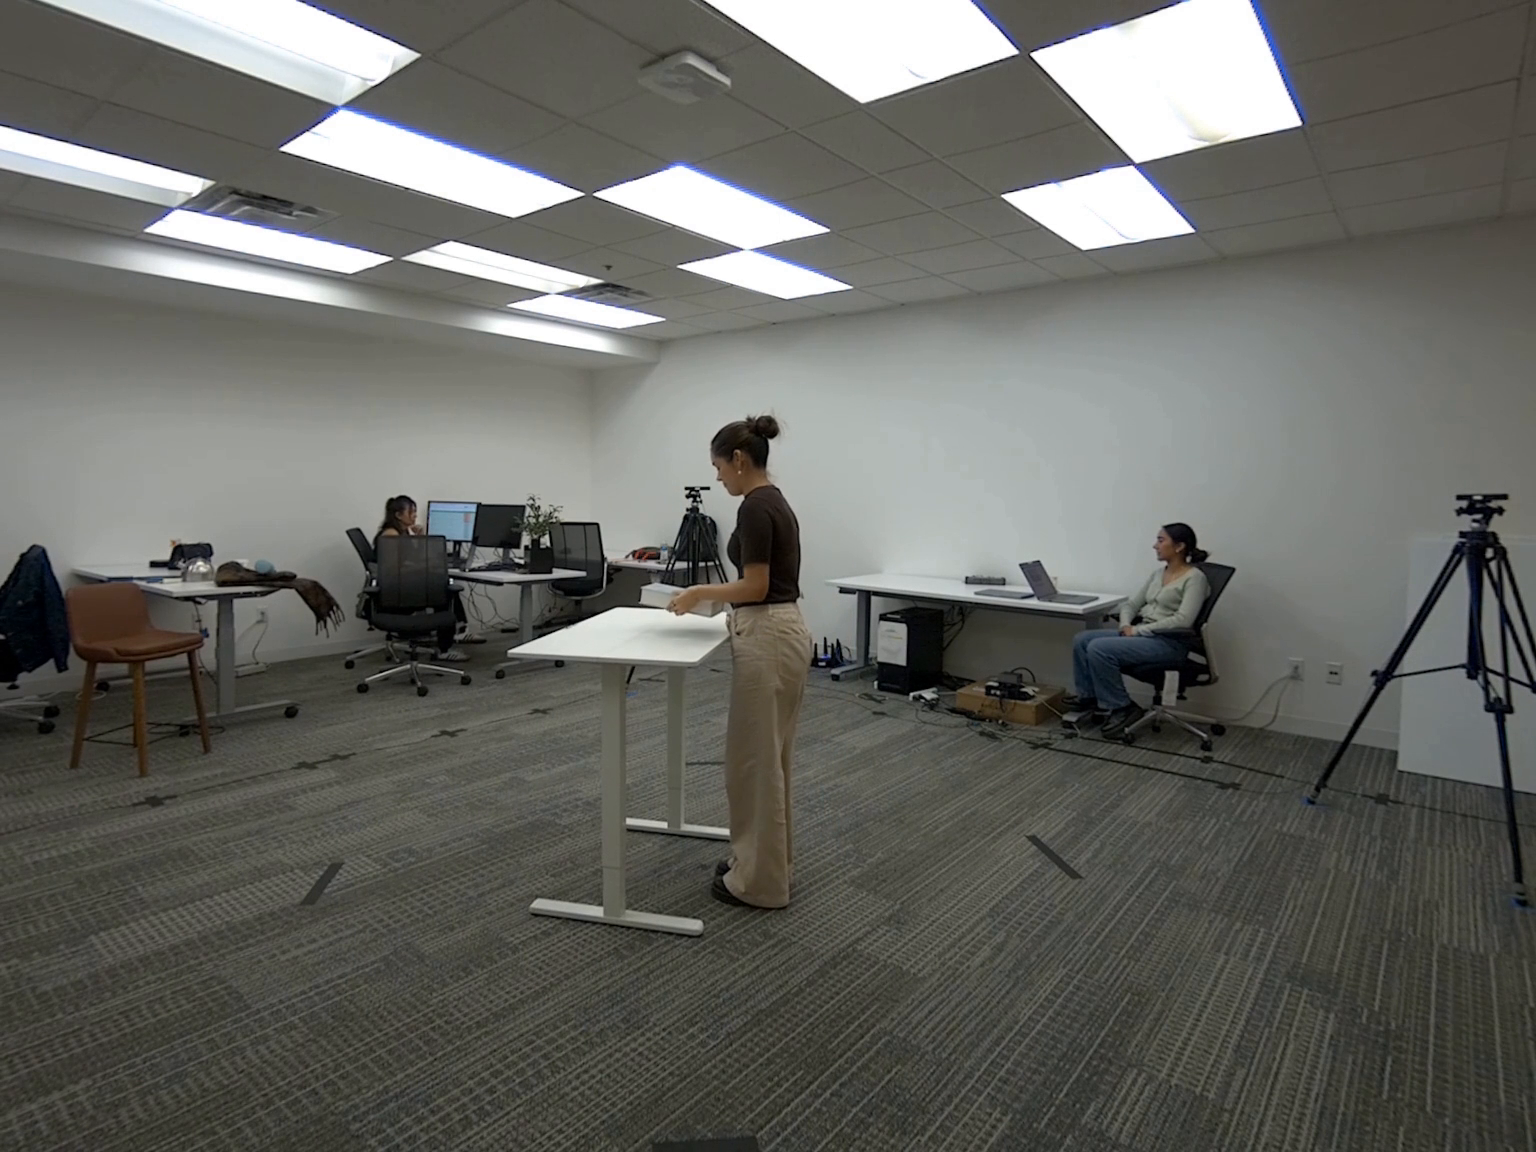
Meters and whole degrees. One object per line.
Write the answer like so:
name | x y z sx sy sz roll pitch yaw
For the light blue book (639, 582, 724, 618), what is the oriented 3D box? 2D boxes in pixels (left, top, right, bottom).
light blue book | -0.309 0.078 2.992 0.265 0.059 0.189 10 6 12
